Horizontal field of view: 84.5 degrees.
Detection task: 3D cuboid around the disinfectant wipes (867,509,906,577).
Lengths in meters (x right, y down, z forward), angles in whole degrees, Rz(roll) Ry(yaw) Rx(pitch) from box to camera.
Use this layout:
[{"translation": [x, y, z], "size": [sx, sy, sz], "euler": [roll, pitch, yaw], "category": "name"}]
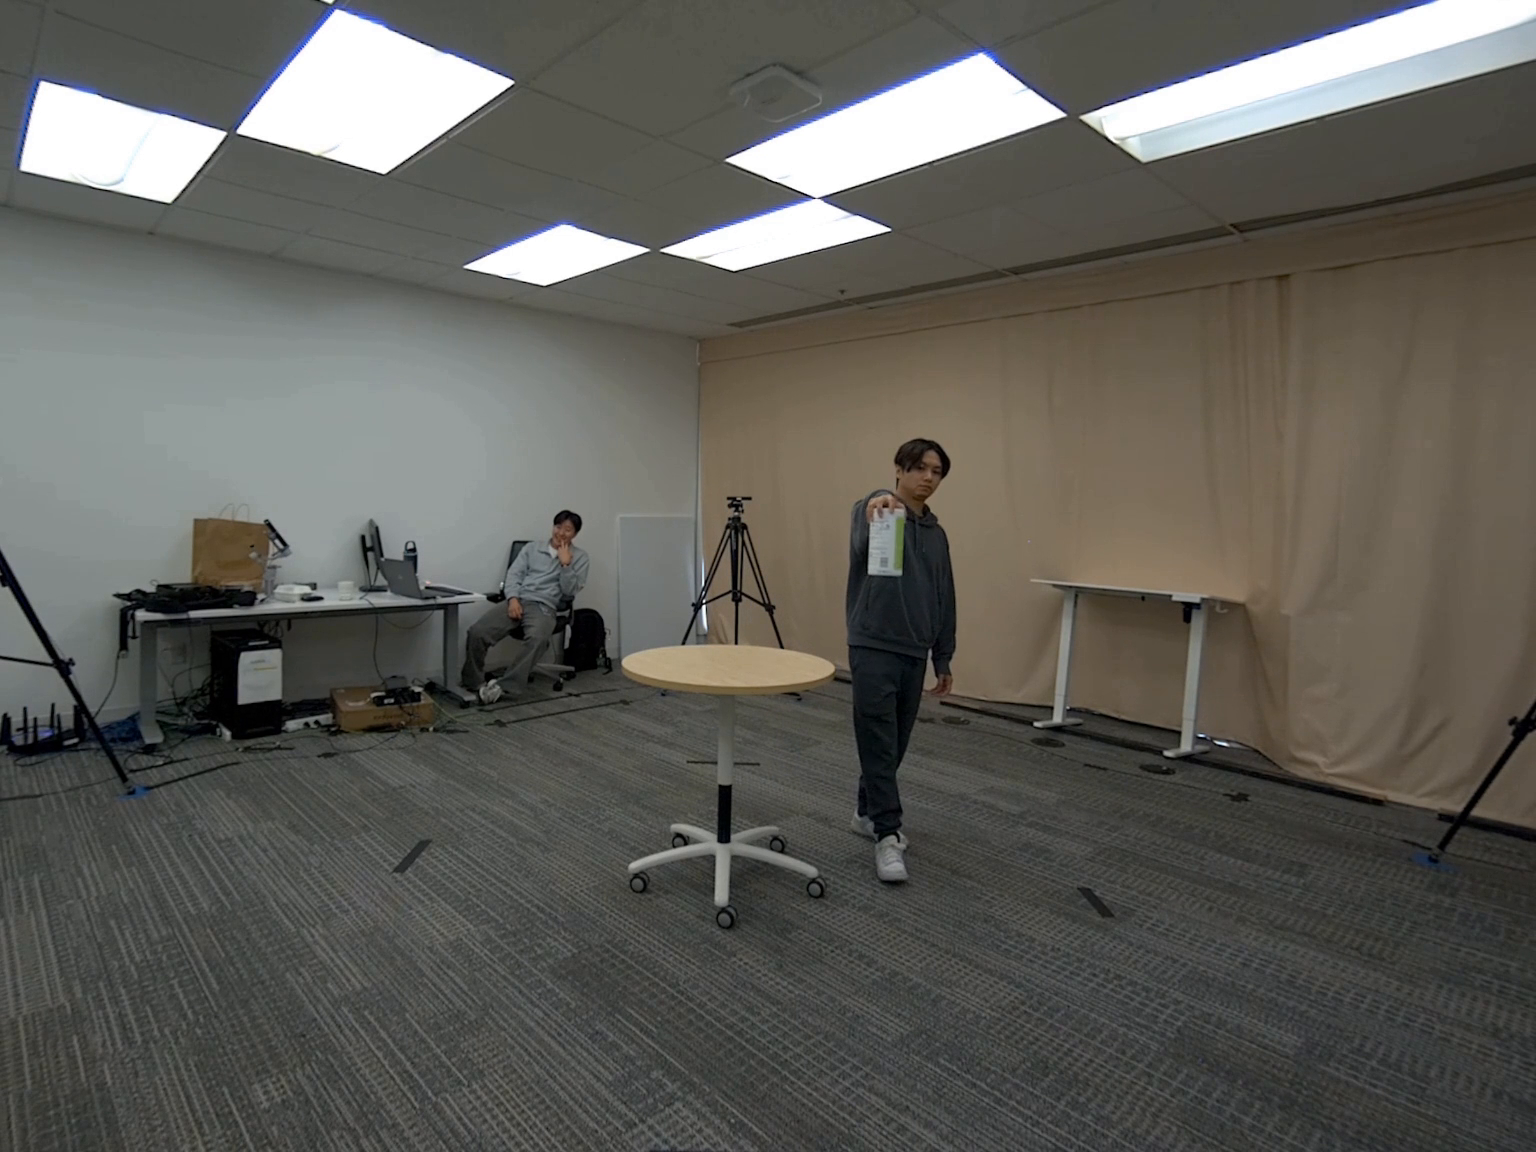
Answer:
[{"translation": [0.369, -0.106, 2.696], "size": [0.118, 0.217, 0.118], "euler": [0, 0, -1], "category": "disinfectant wipes"}]
